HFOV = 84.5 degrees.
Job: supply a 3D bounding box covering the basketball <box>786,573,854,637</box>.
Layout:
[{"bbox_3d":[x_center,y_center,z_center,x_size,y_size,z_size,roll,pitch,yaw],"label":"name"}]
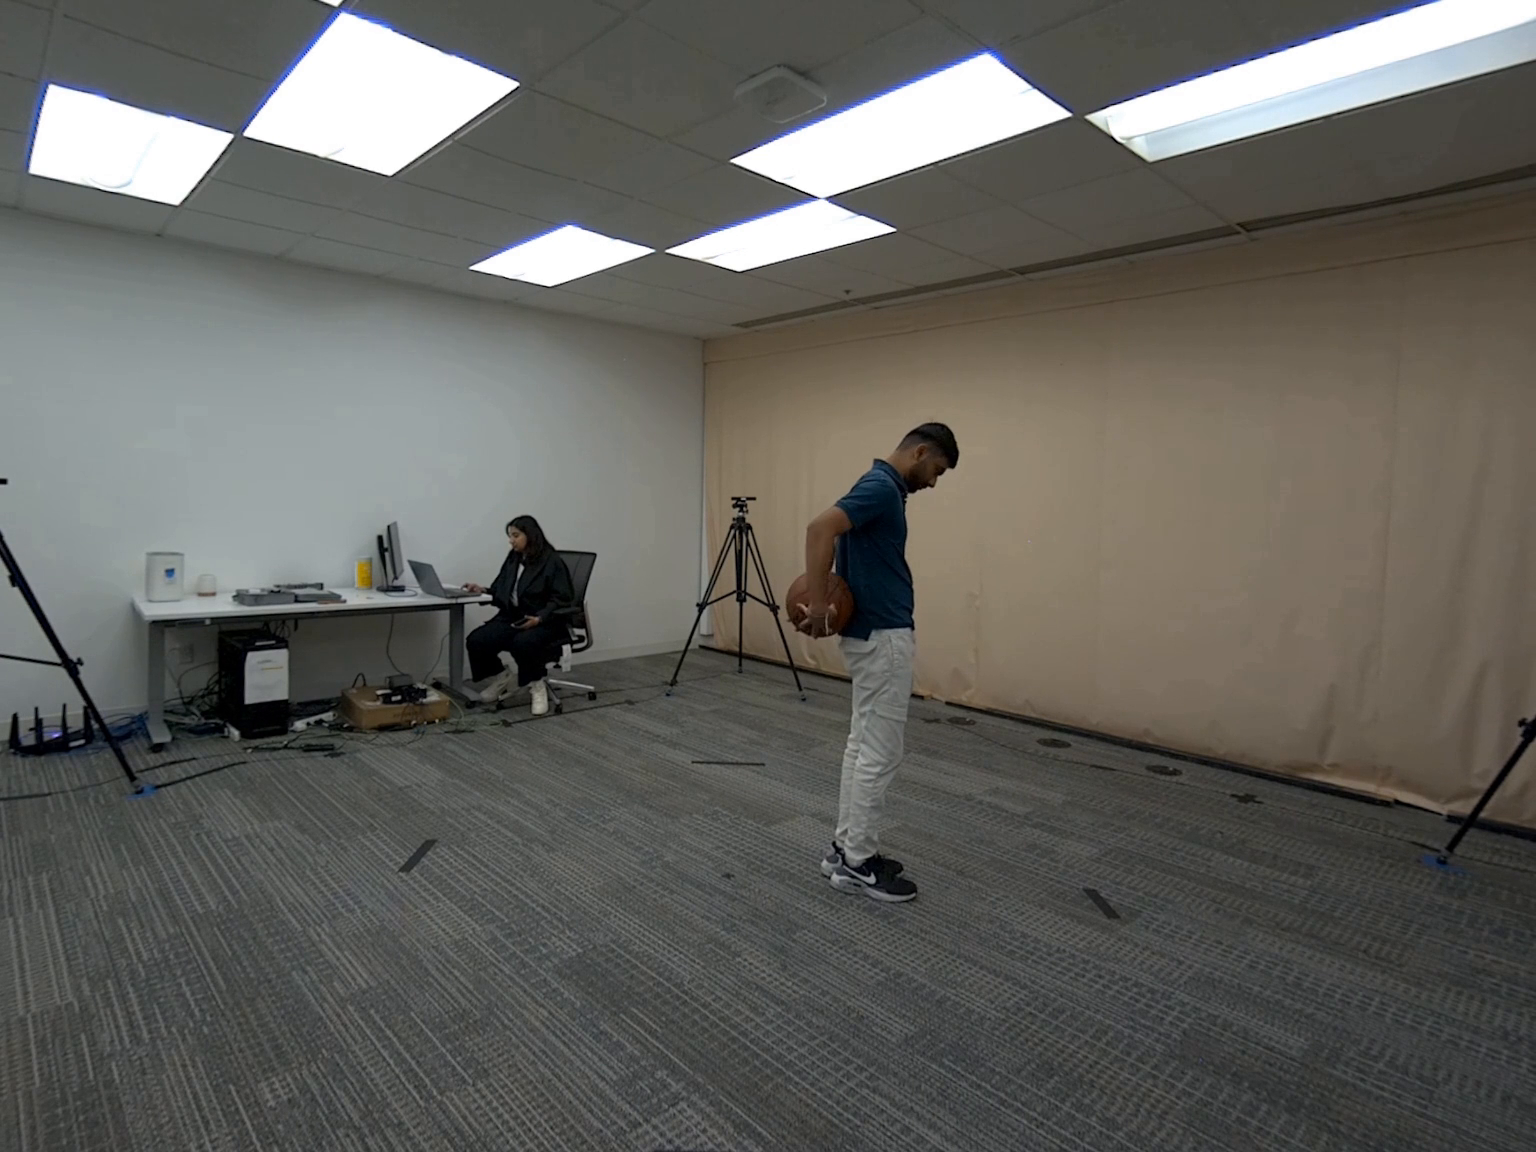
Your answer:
[{"bbox_3d":[0.181,0.092,2.958,0.236,0.235,0.237,1,4,-1],"label":"basketball"}]
